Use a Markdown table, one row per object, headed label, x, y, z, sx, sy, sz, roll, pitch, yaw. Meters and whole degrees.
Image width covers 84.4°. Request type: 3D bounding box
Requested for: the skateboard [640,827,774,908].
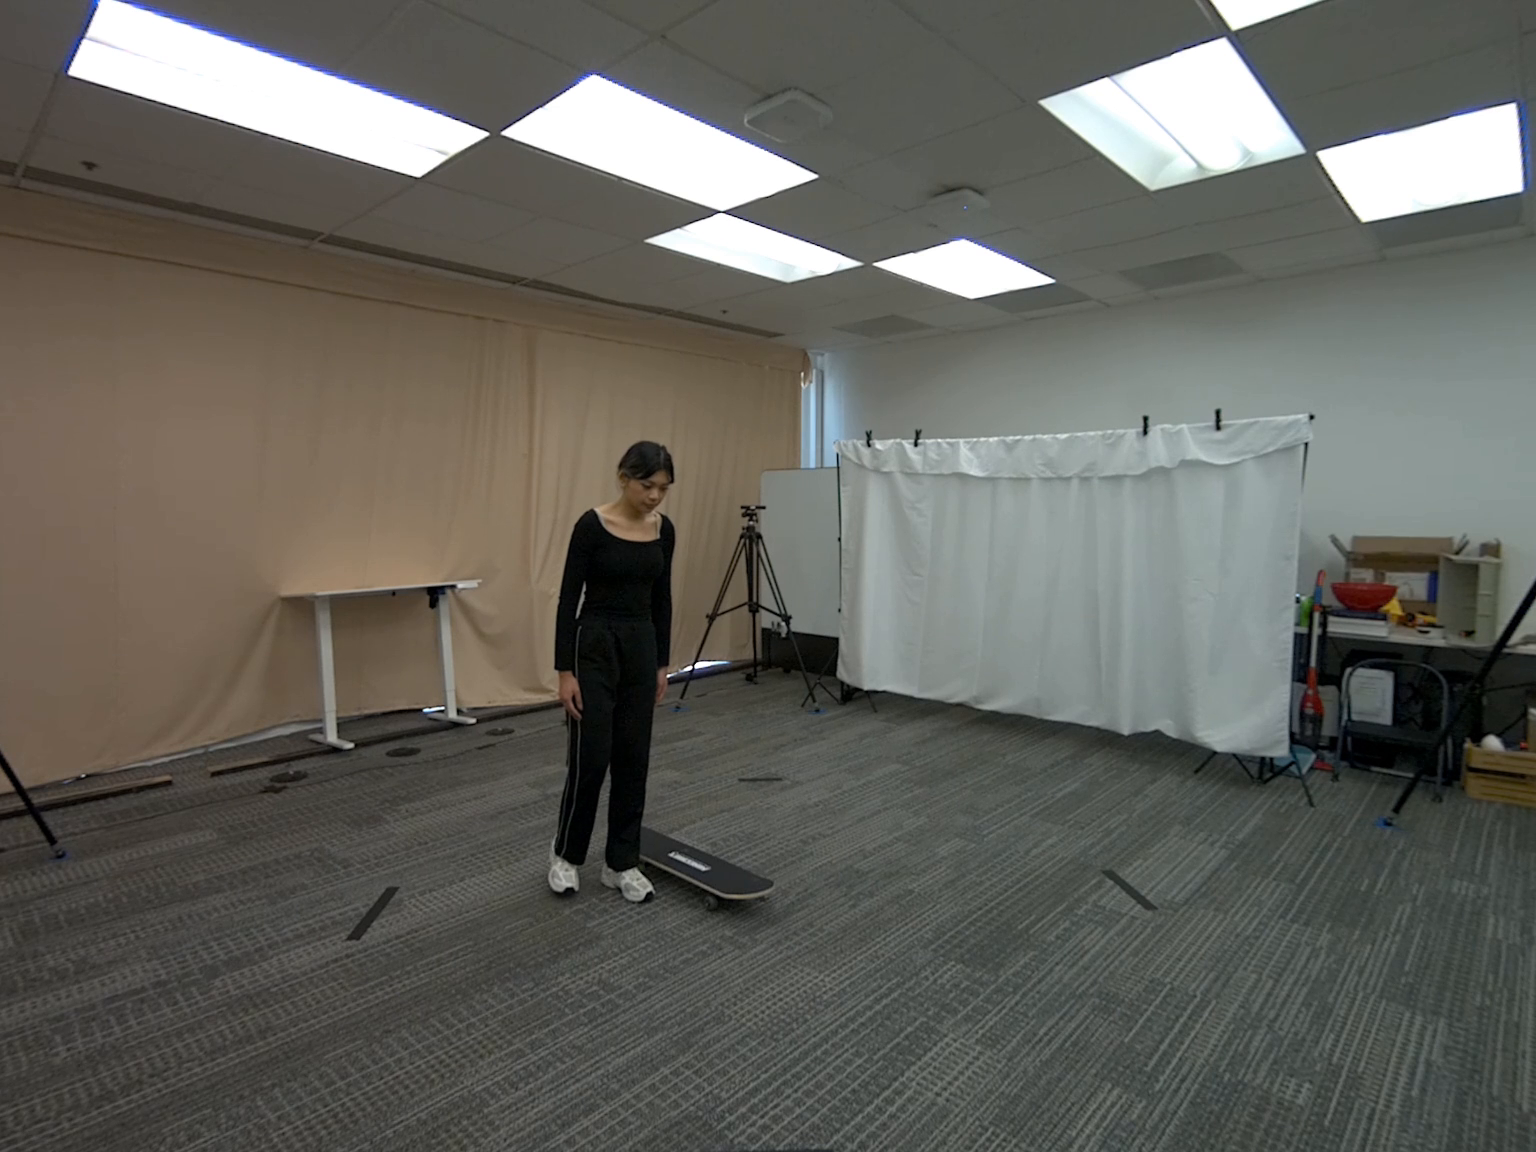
| label | x | y | z | sx | sy | sz | roll | pitch | yaw |
| --- | --- | --- | --- | --- | --- | --- | --- | --- | --- |
| skateboard | -0.292 | 1.081 | 3.097 | 0.812 | 0.110 | 0.187 | 4 | 5 | 44 |
